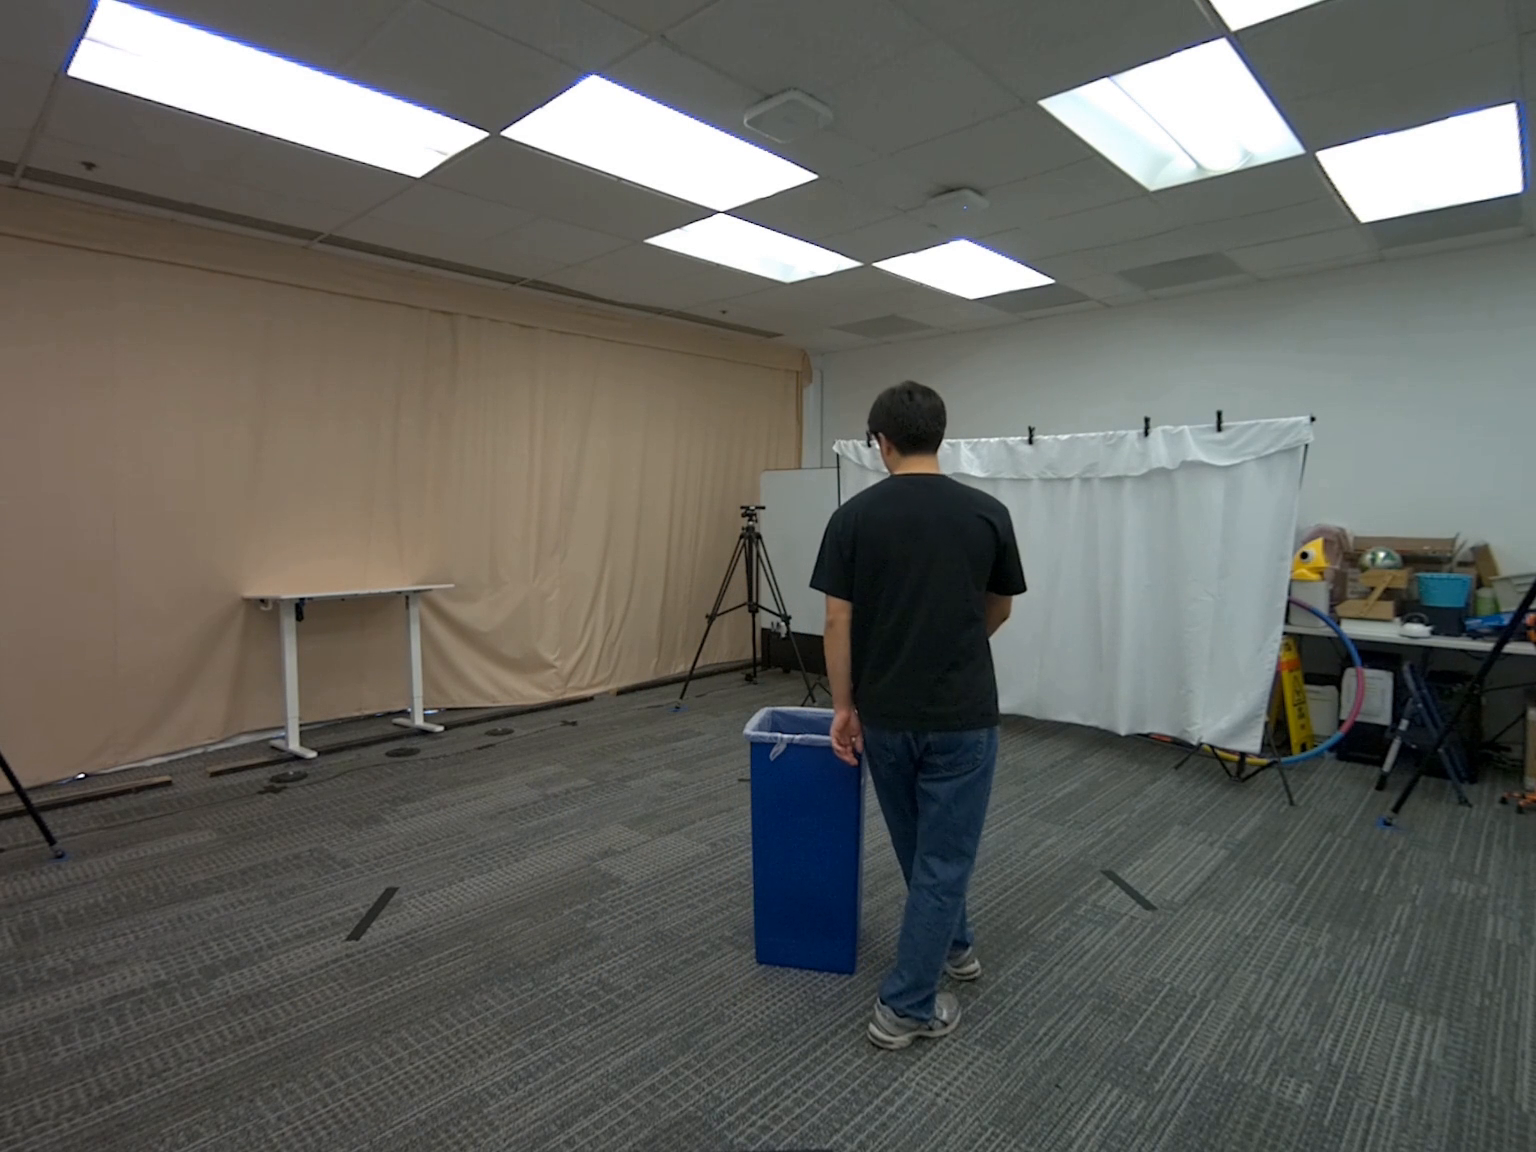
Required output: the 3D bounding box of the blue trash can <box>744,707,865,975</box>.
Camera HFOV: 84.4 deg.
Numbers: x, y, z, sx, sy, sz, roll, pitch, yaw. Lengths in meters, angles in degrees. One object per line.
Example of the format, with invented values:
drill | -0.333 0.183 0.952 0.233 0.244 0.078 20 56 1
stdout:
blue trash can | 0.140 0.811 2.652 0.383 0.713 0.369 0 2 11
